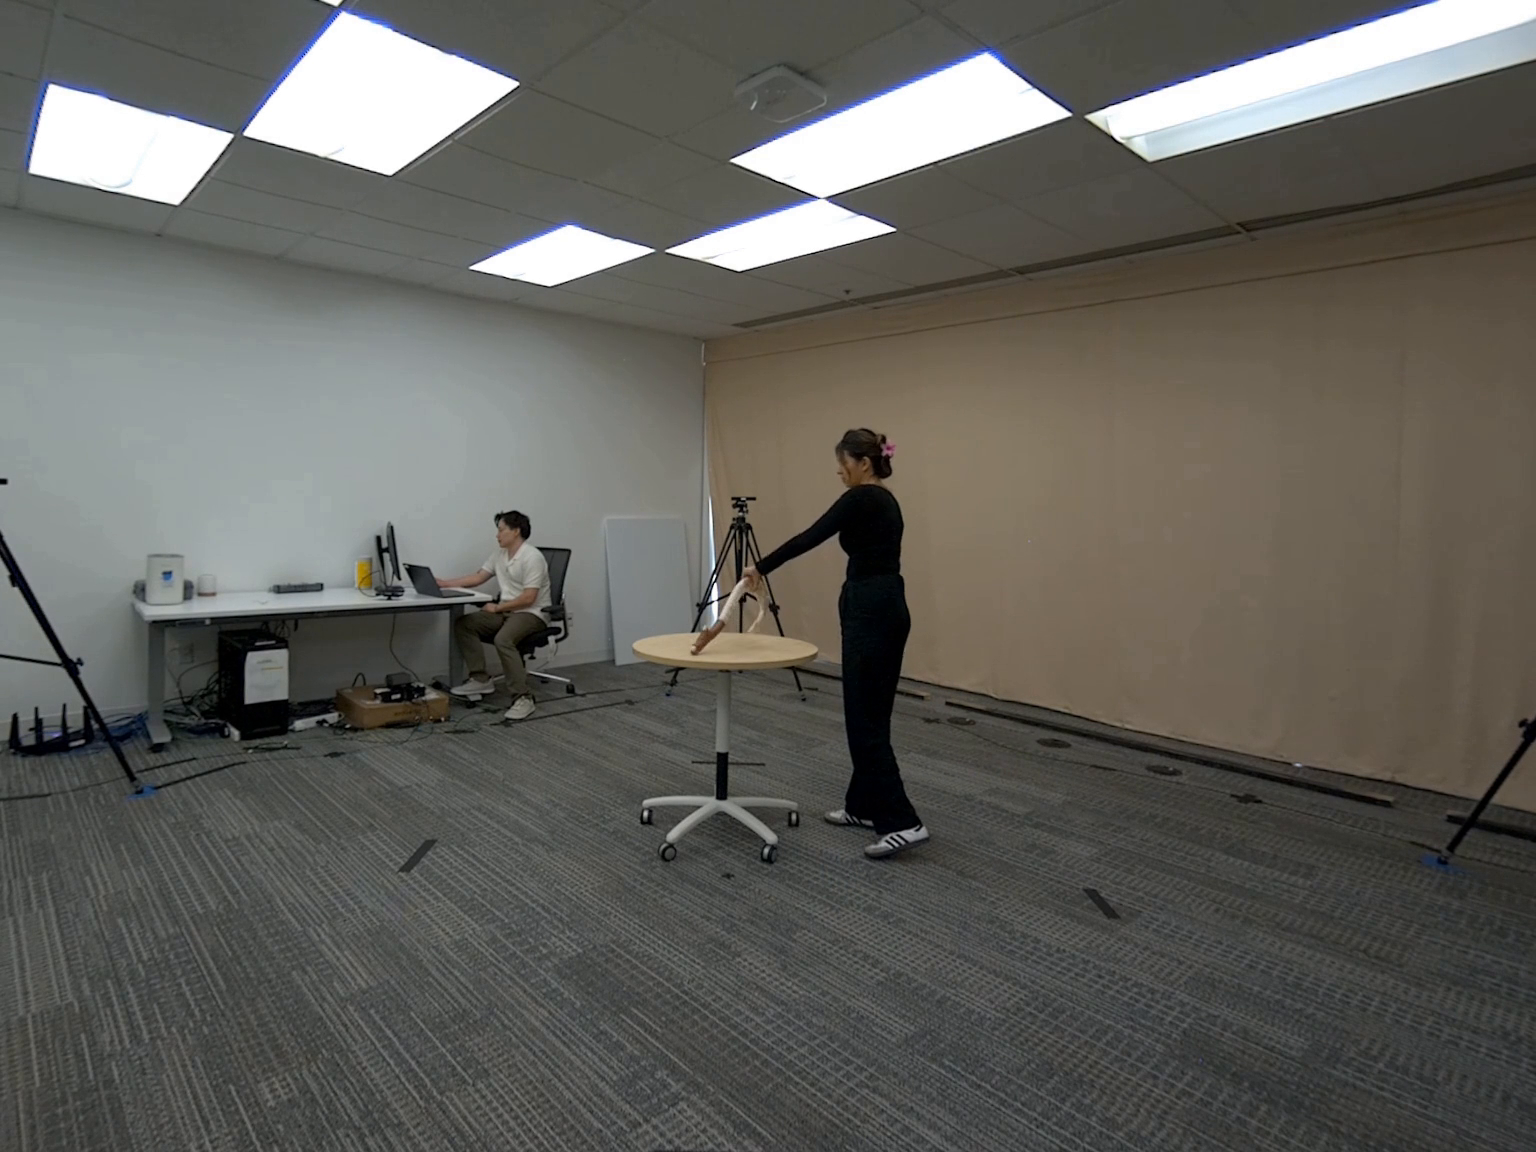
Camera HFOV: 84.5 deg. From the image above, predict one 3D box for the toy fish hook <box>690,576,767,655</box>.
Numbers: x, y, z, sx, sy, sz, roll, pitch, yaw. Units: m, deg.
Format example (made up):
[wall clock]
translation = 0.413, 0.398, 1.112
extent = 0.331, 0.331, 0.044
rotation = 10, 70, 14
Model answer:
[toy fish hook]
translation = -0.144, 0.194, 3.412
extent = 0.049, 0.220, 0.507
rotation = -10, 29, 42
